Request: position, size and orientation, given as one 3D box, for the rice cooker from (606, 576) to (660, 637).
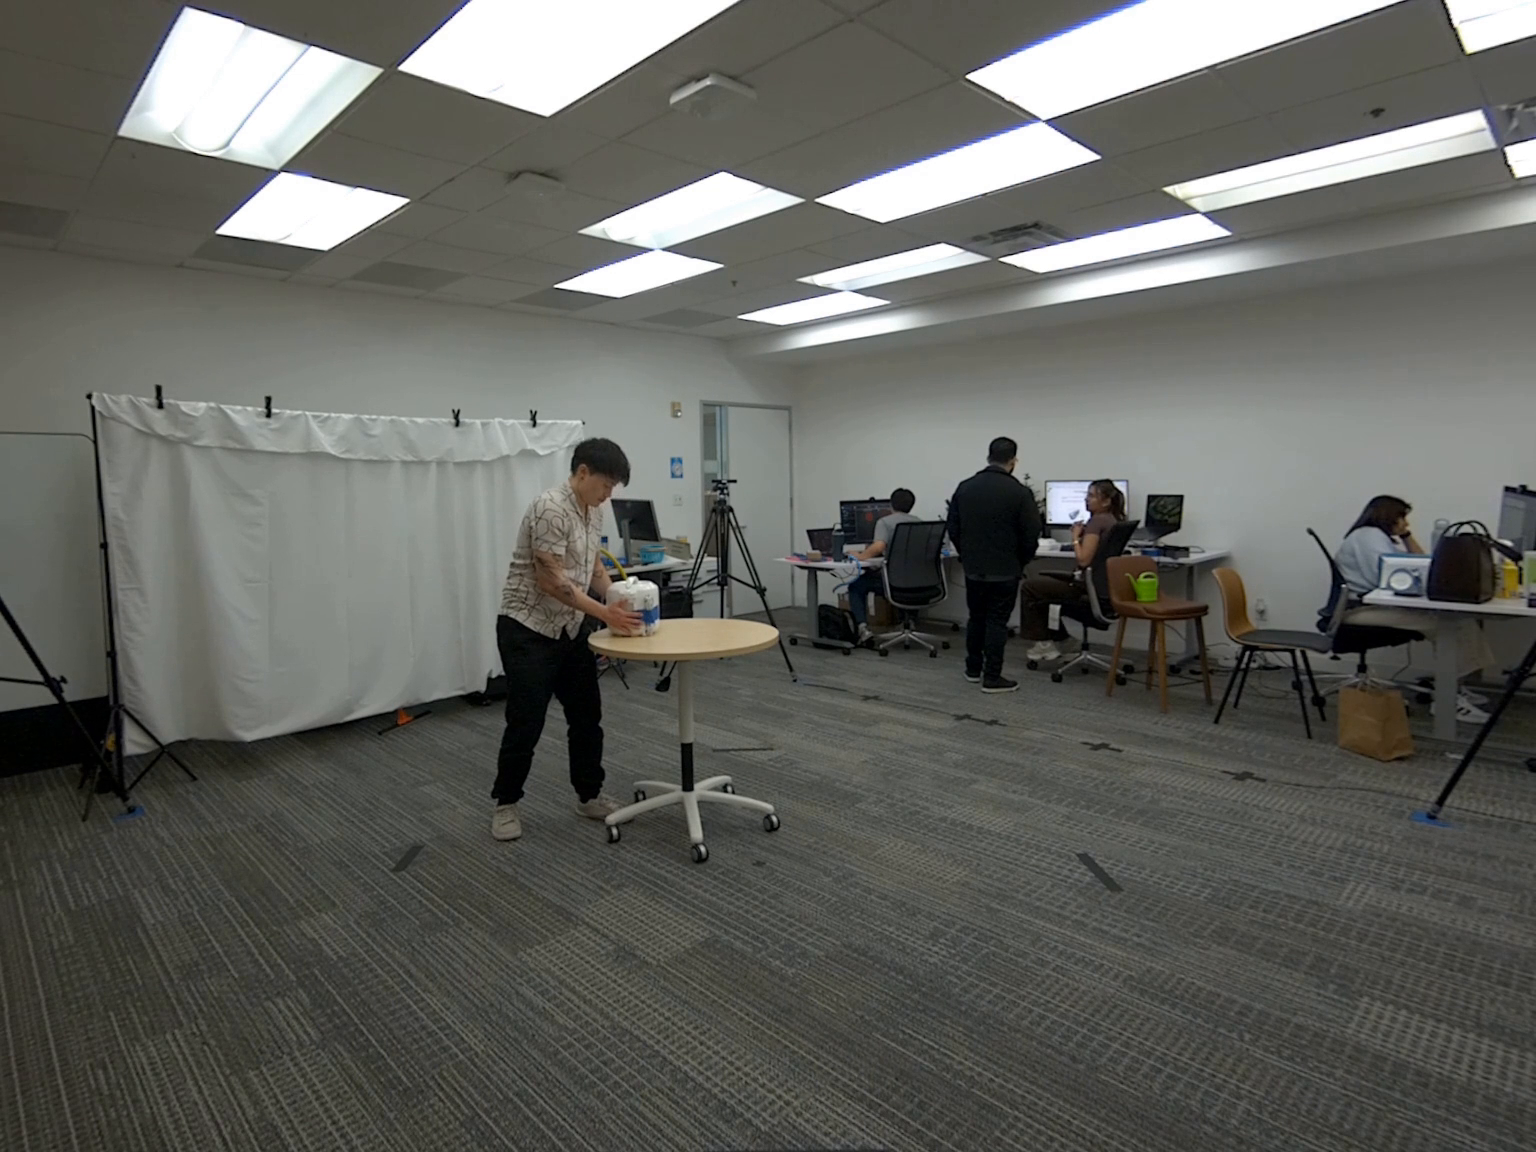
[{"bbox_3d":[-0.554,0.118,3.484,0.218,0.232,0.220,-1,4,4],"label":"rice cooker"}]
